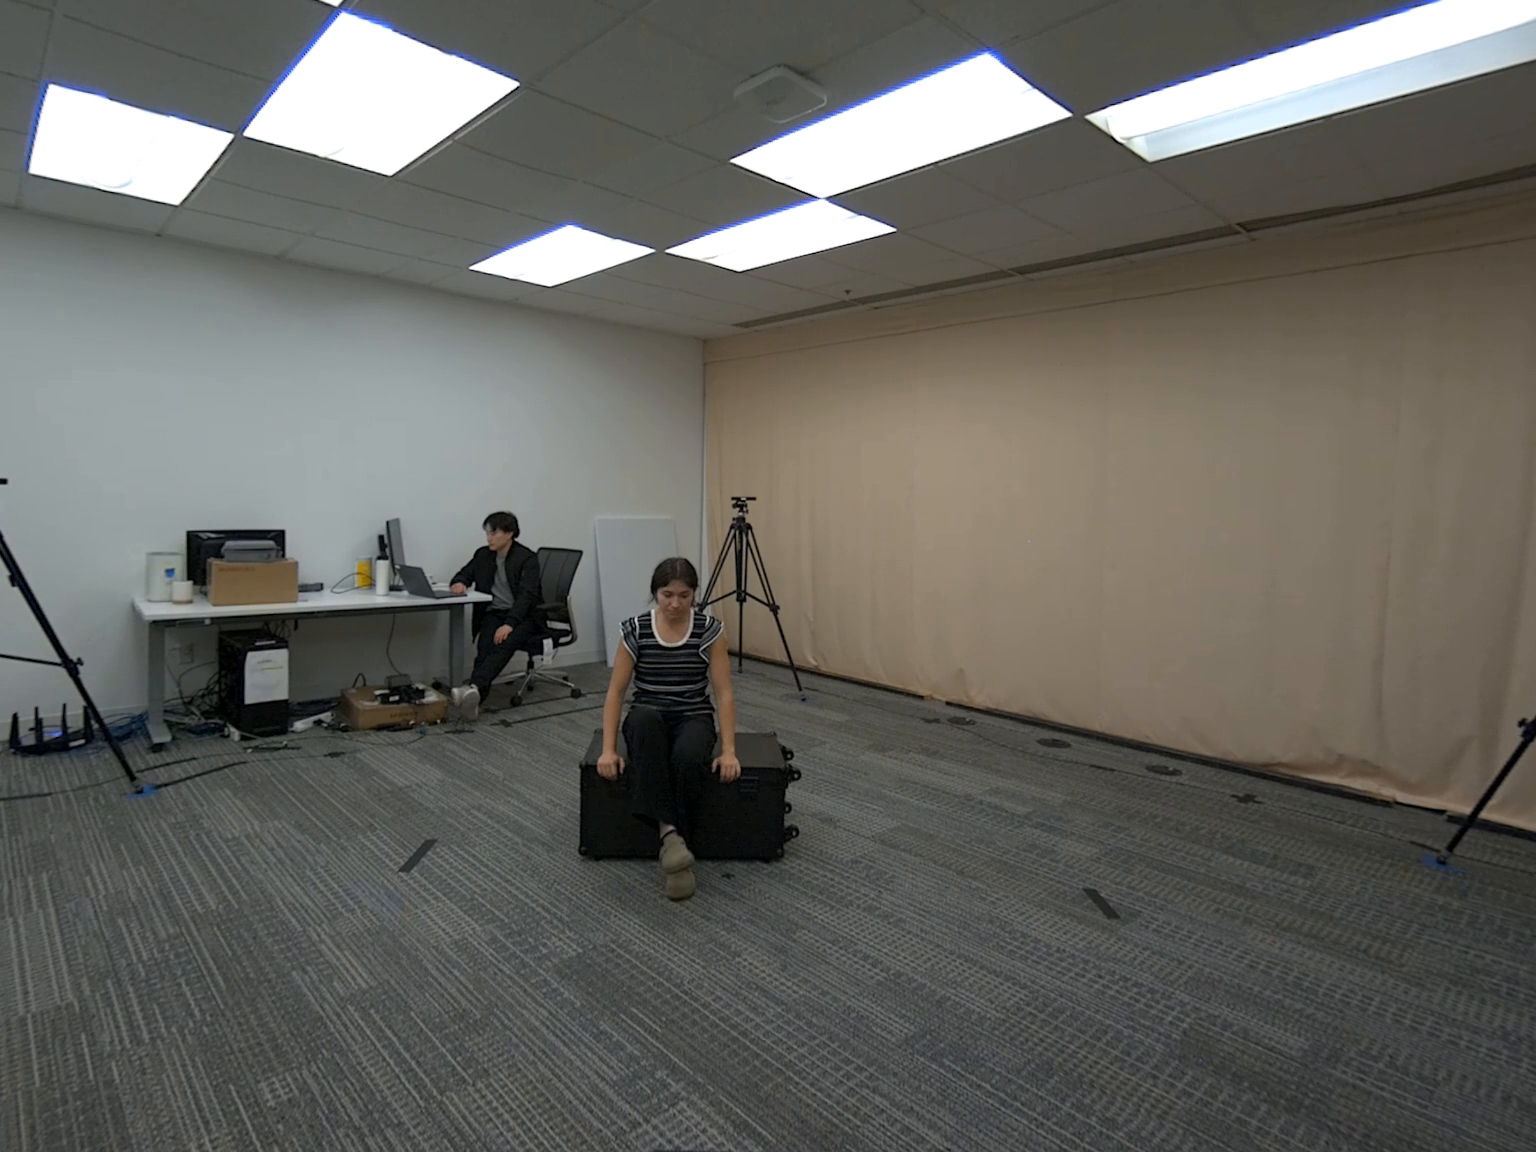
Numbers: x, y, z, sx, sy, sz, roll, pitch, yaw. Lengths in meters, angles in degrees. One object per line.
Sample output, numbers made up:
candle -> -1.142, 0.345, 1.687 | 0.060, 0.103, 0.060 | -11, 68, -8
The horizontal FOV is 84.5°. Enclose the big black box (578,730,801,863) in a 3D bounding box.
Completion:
big black box -> -0.314, 0.880, 3.432 | 0.859, 0.395, 0.524 | 1, 5, -4
